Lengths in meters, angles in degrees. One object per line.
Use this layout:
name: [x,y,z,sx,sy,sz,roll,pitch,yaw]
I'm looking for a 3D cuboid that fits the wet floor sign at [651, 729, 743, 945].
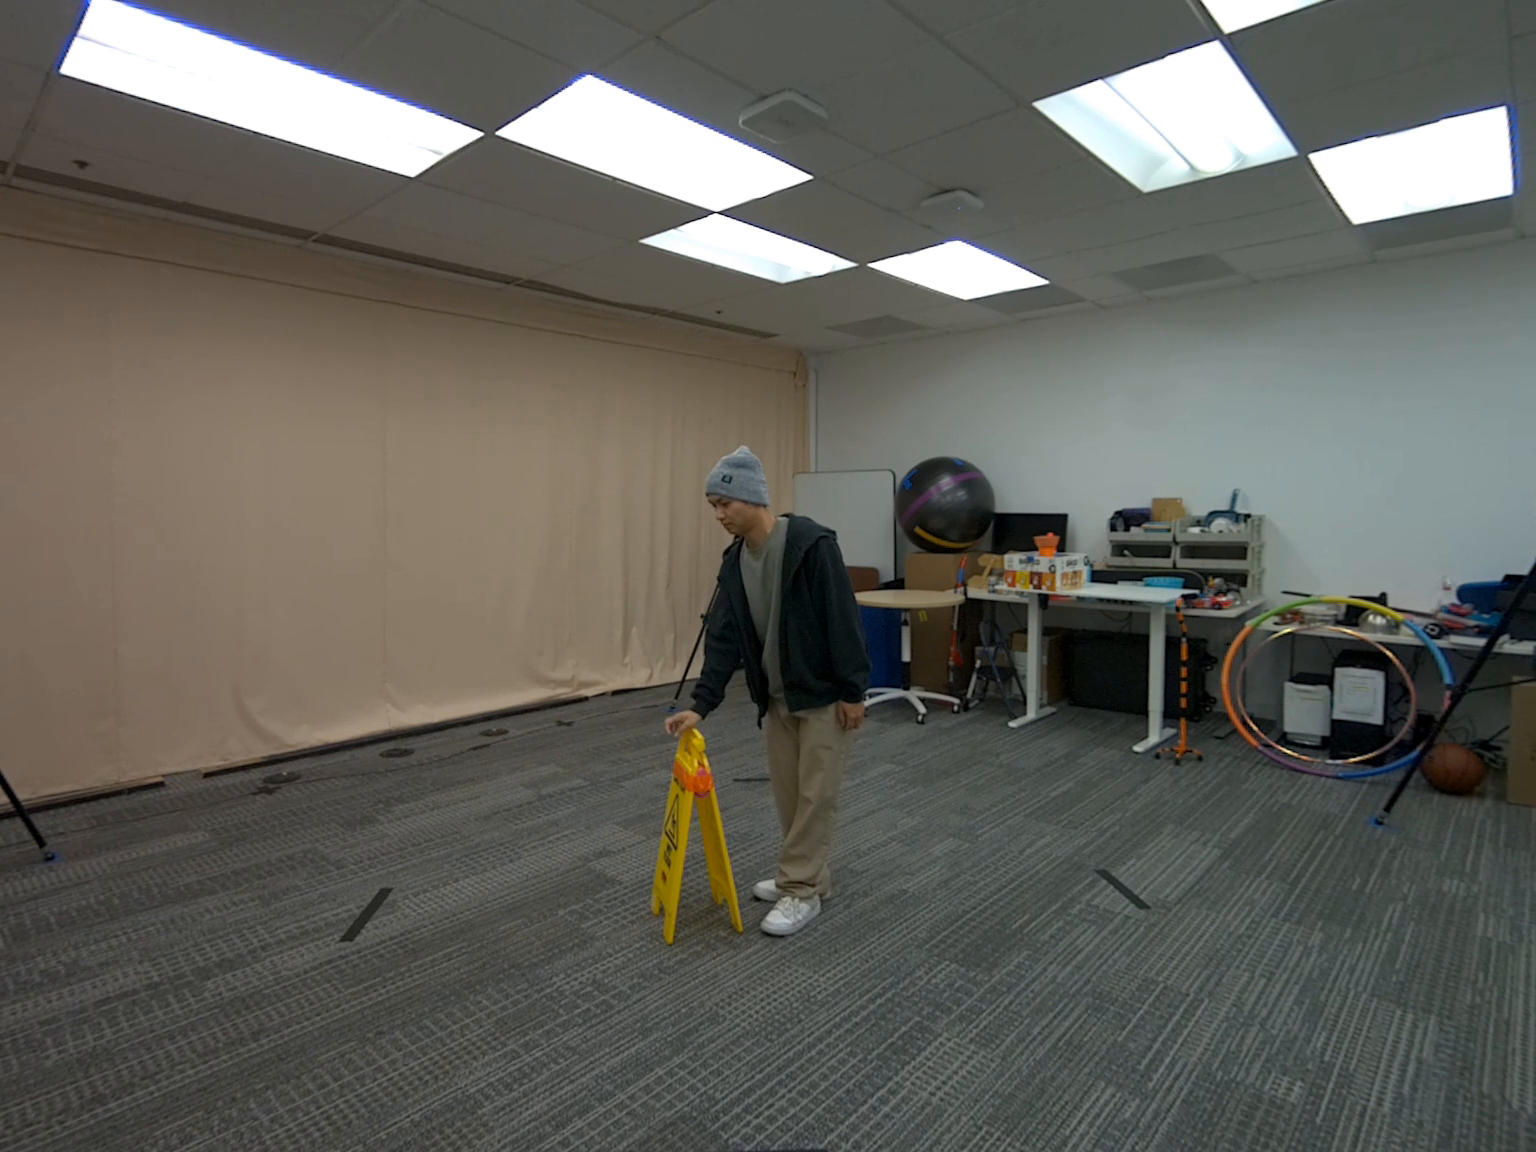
wet floor sign: [-0.248,0.833,2.817,0.284,0.645,0.288,-3,3,-18]
